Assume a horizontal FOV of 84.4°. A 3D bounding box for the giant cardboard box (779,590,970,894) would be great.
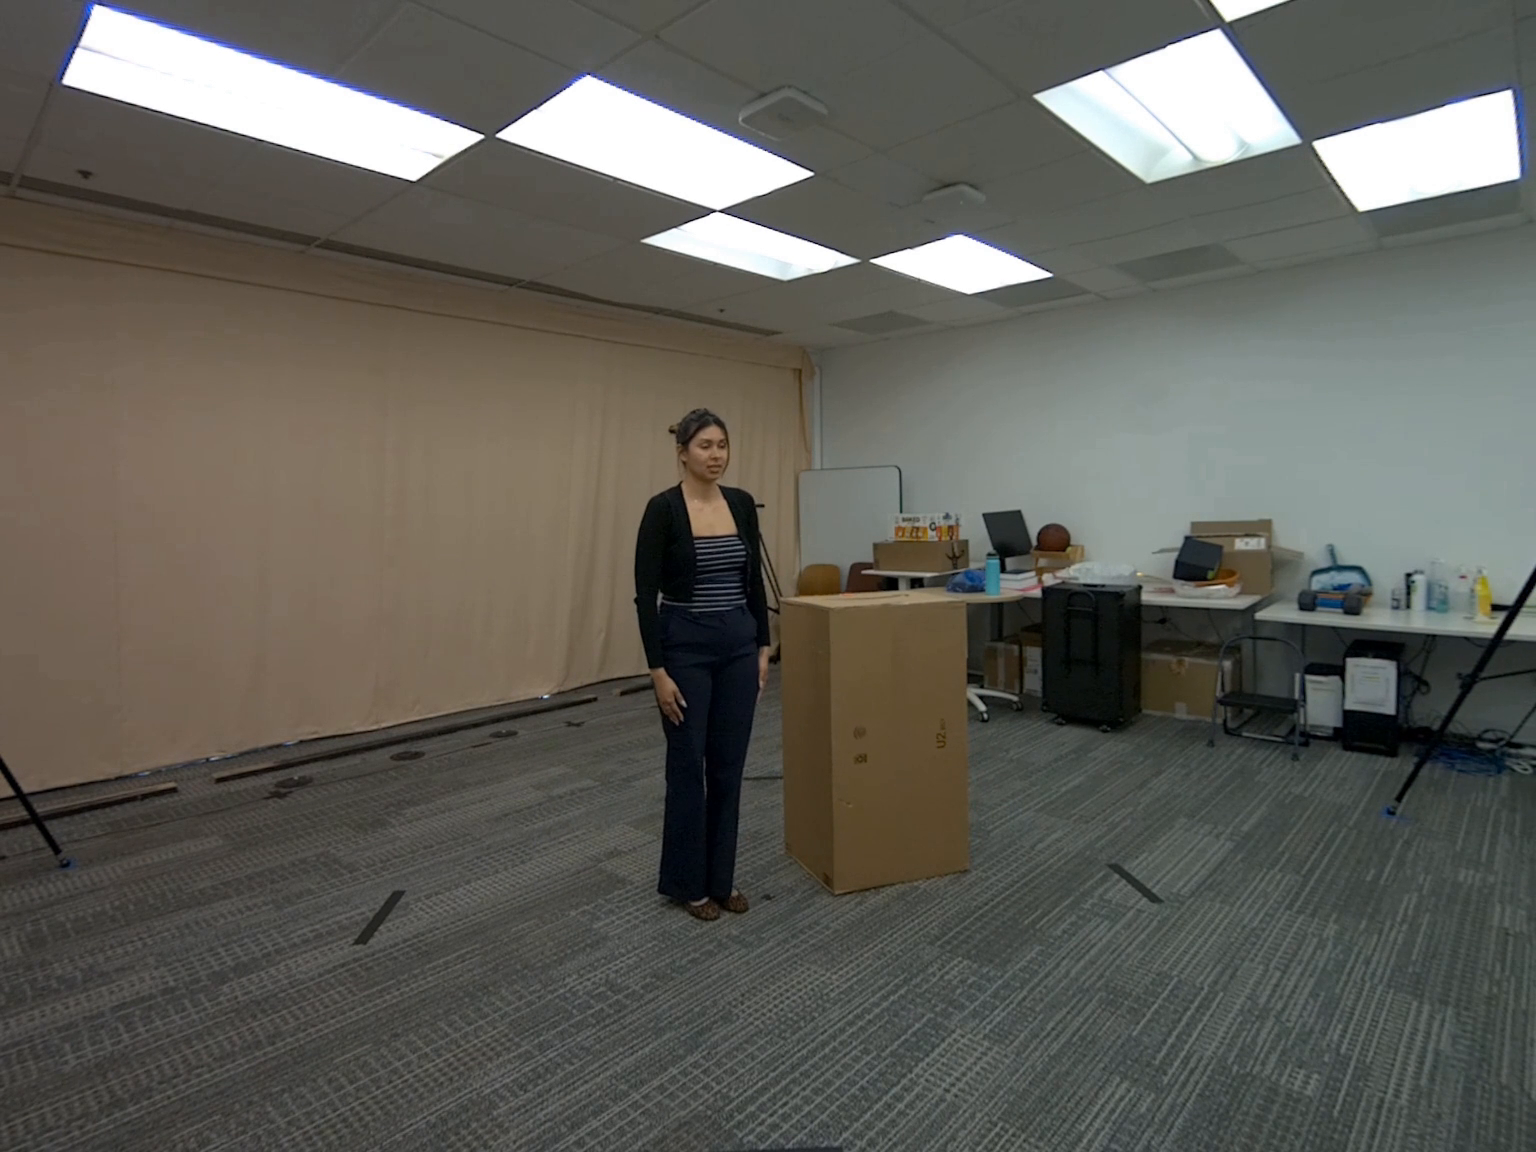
[{"bbox_3d":[0.407,0.595,3.254,0.566,1.024,0.436,-2,3,-21],"label":"giant cardboard box"}]
